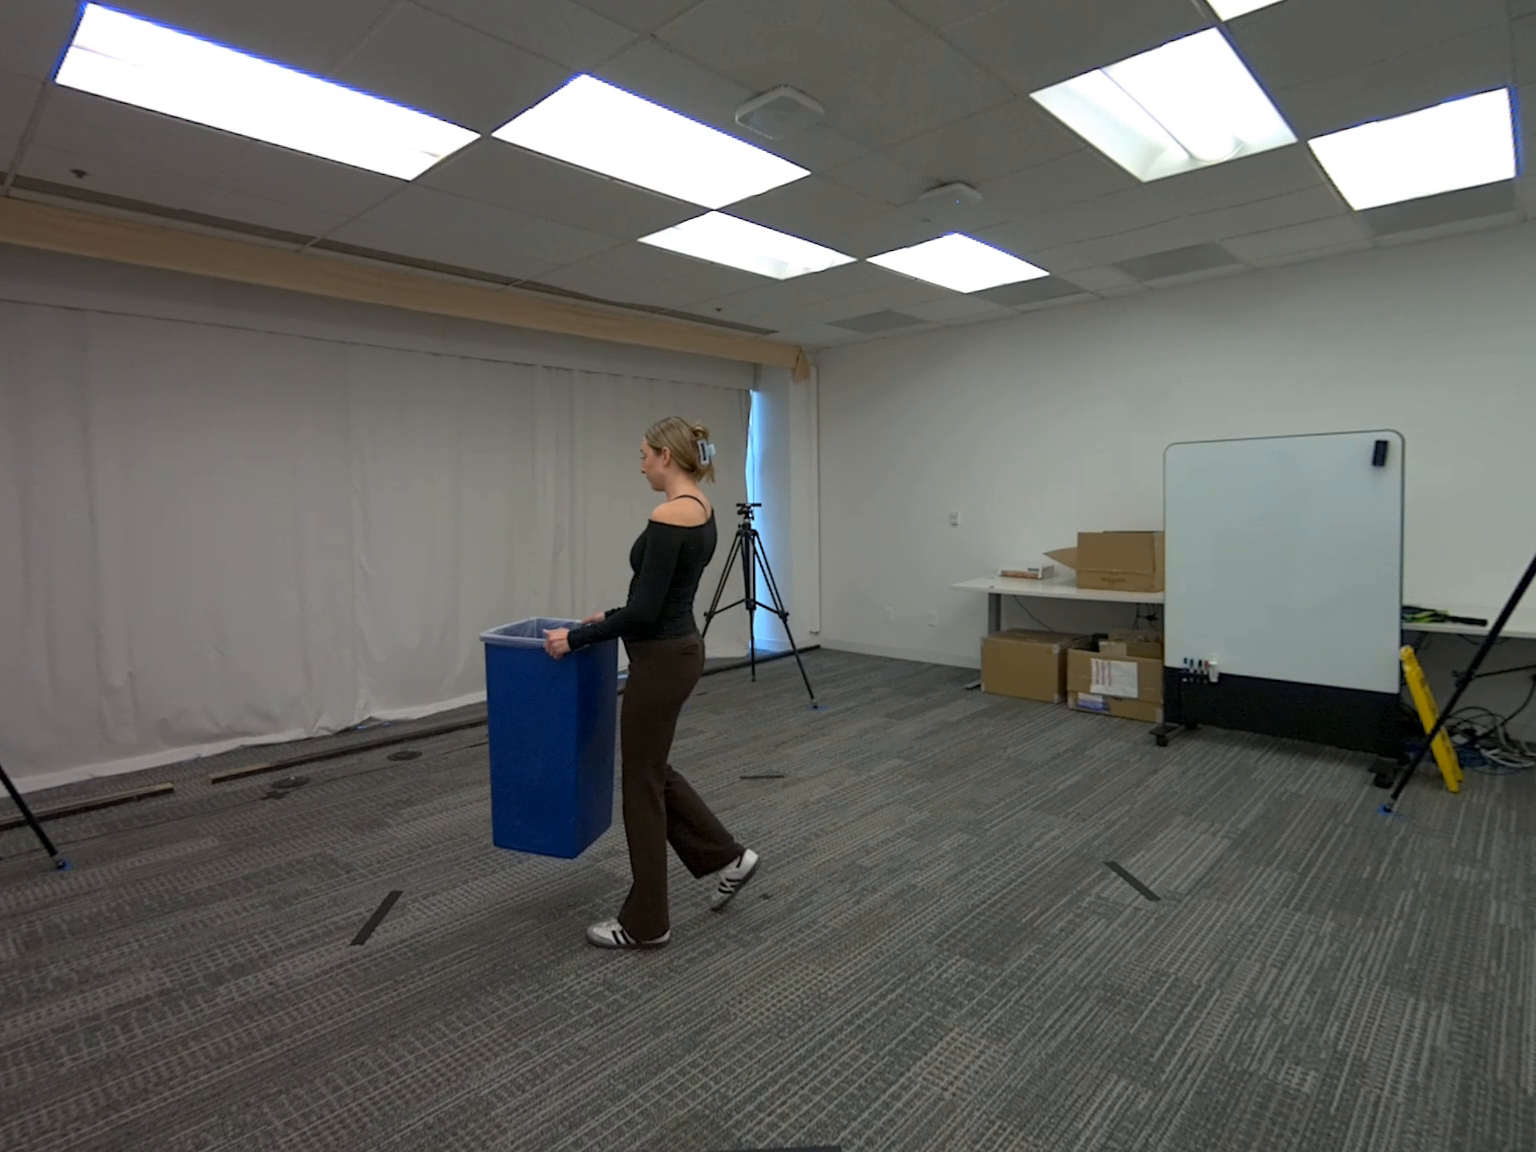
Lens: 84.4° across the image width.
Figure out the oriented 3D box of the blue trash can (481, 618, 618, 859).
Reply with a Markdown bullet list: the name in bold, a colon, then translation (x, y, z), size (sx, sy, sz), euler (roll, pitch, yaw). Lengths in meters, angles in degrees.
- **blue trash can**: translation (-0.716, 0.535, 2.828), size (0.384, 0.712, 0.369), euler (2, 4, 15)
